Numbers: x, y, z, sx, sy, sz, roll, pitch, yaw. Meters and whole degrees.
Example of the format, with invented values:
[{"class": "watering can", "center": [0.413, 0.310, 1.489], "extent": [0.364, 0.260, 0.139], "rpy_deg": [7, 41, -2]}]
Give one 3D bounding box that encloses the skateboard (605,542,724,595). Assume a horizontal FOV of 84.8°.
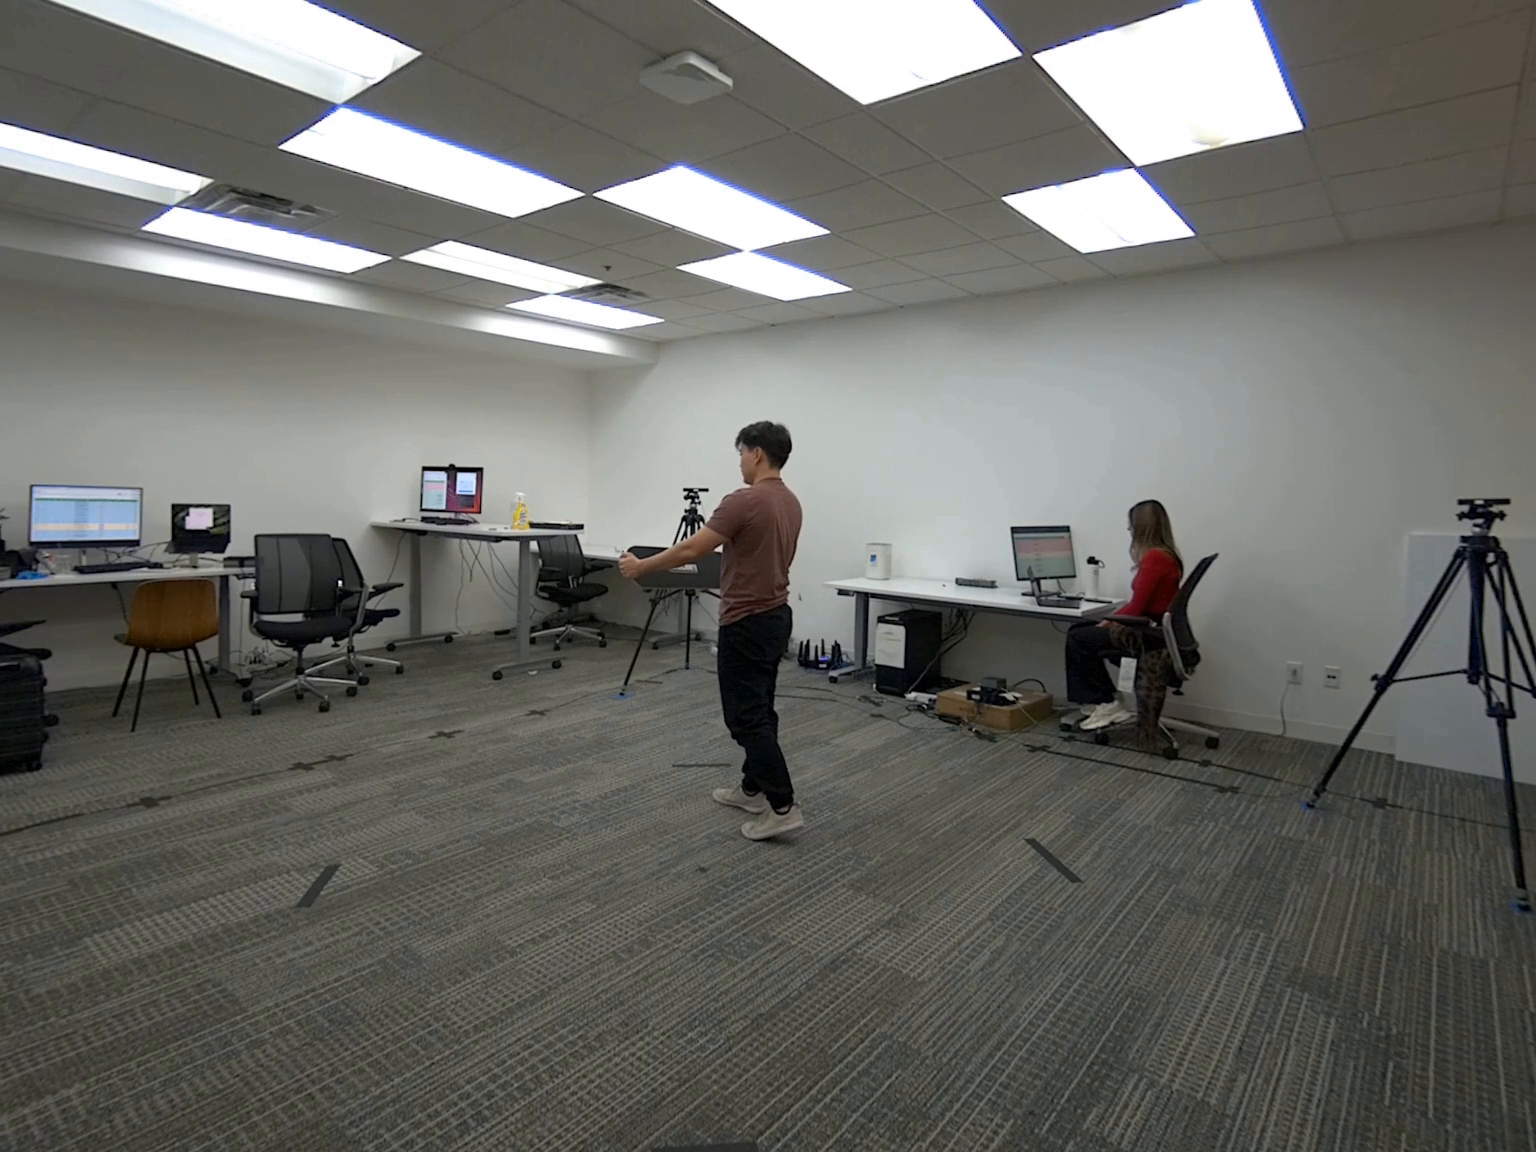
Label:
[{"class": "skateboard", "center": [-0.413, -0.027, 3.863], "extent": [0.112, 0.197, 0.761], "rpy_deg": [-25, -15, 32]}]
